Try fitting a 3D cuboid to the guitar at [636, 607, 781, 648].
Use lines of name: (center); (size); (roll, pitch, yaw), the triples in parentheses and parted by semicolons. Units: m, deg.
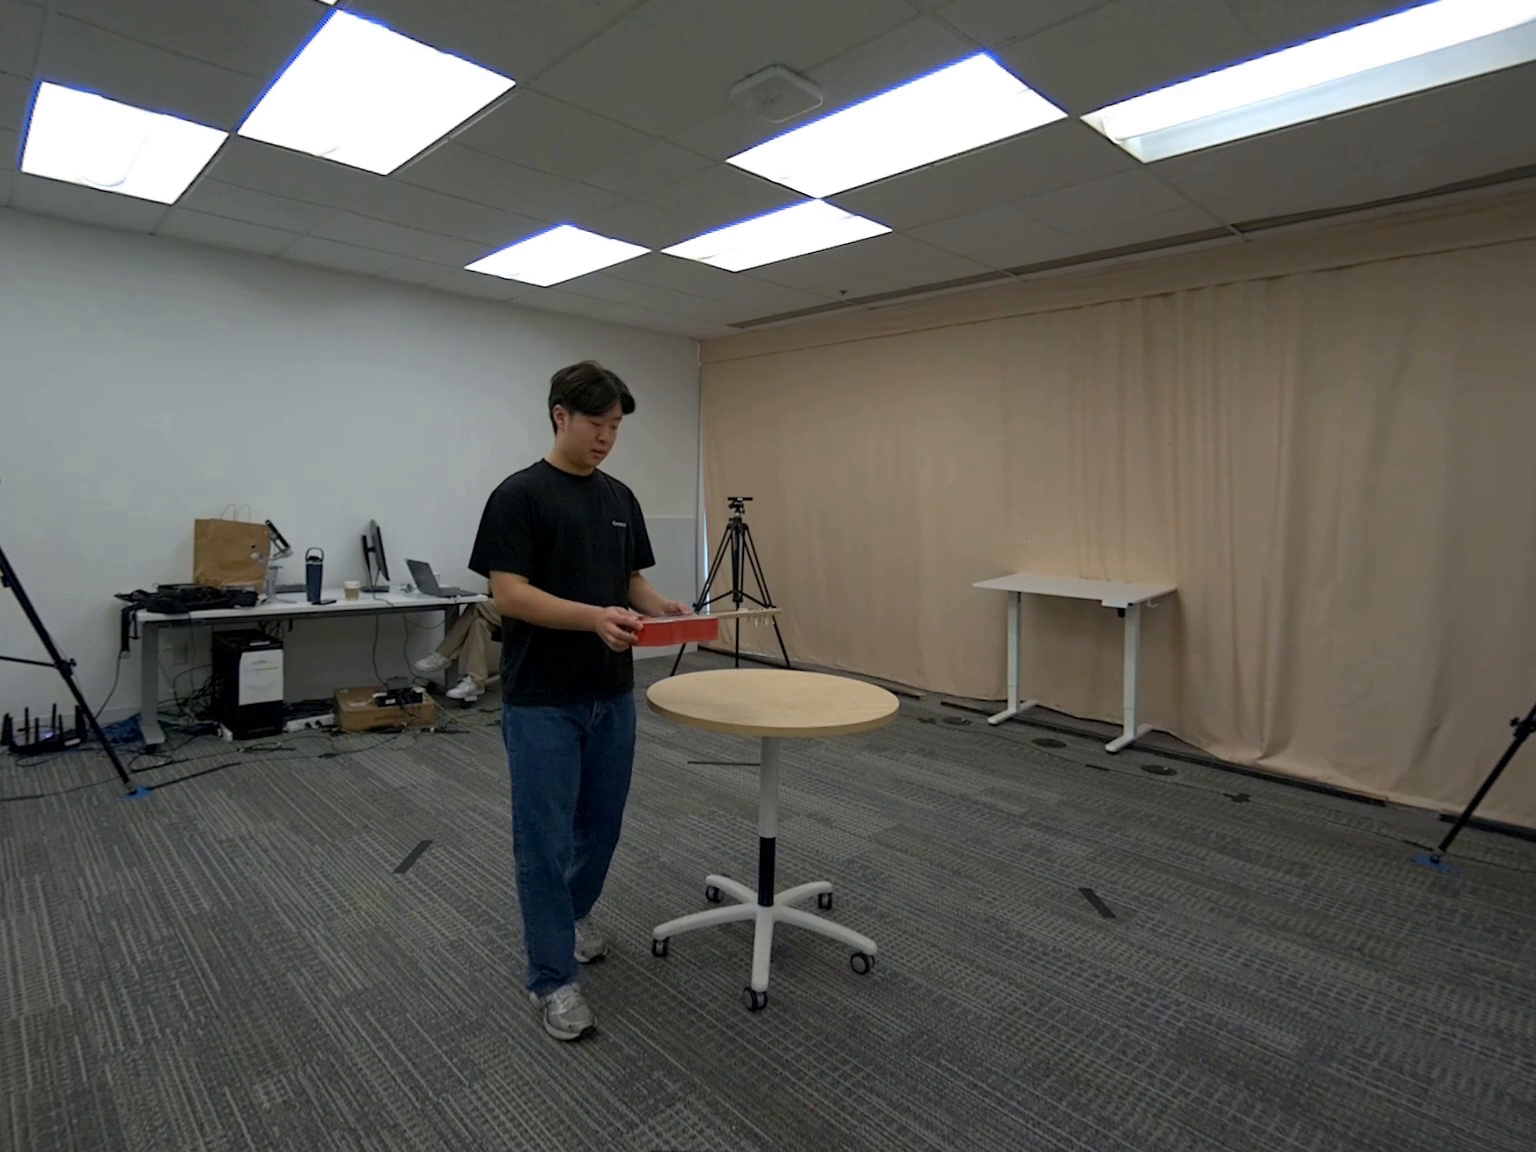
guitar: (-0.172, 0.131, 2.183); (0.489, 0.071, 0.196); (-1, 1, -25)
